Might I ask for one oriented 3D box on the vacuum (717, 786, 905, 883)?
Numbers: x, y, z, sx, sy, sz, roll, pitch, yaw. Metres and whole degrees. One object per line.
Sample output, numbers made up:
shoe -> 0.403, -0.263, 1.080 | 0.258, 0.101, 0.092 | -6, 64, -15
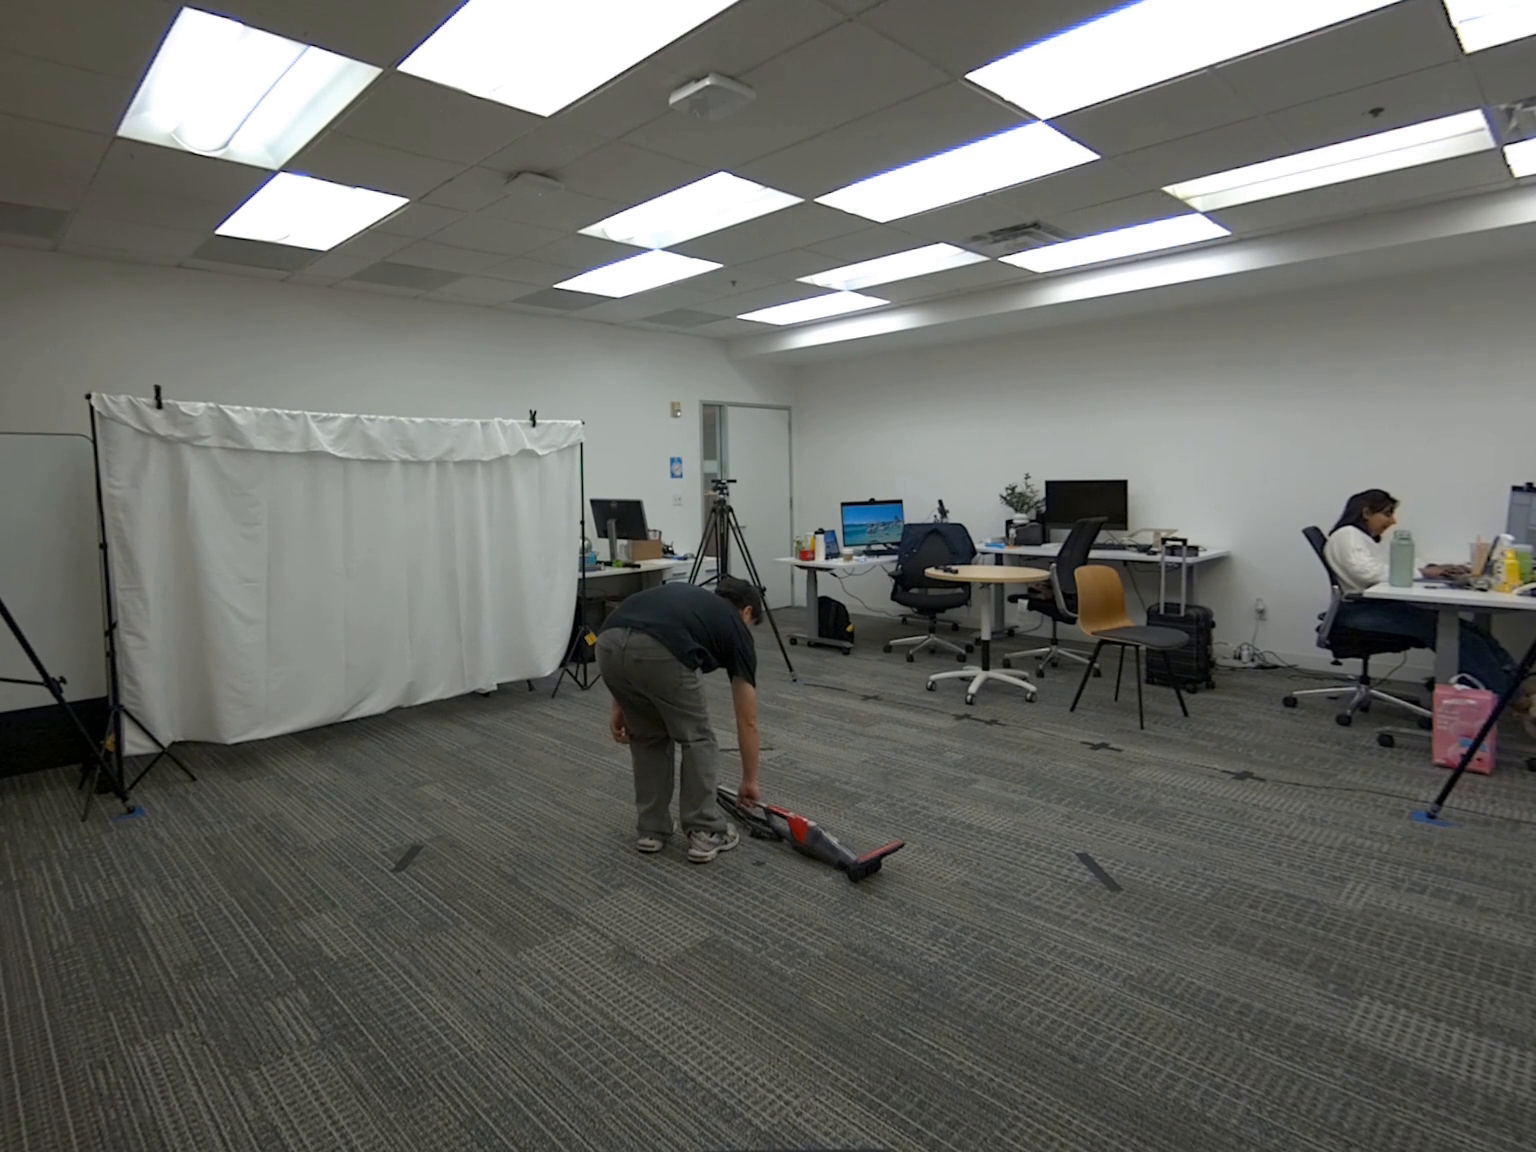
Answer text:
vacuum -> 0.009, 0.959, 3.350 | 0.246, 0.143, 1.082 | -6, 8, -41
